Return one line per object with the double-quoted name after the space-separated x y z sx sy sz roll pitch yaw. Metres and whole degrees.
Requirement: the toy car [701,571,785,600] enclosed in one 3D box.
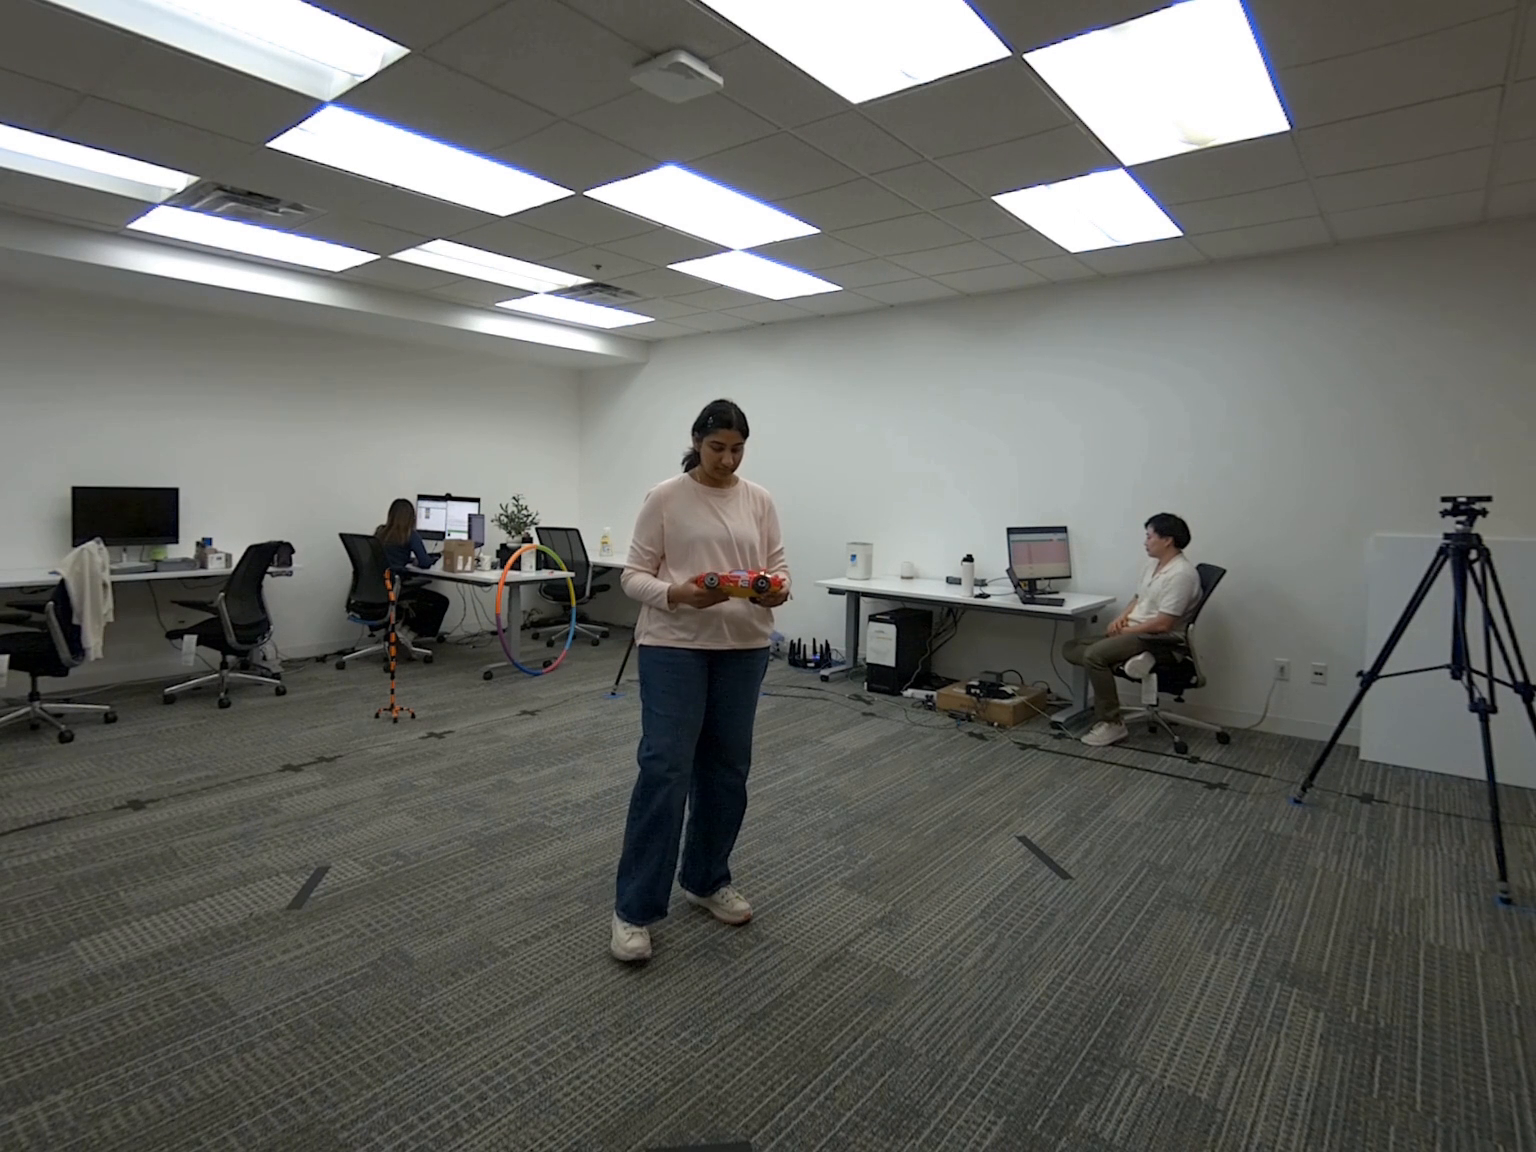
-0.091 0.019 2.482 0.253 0.085 0.128 -7 -16 -5 "toy car"
